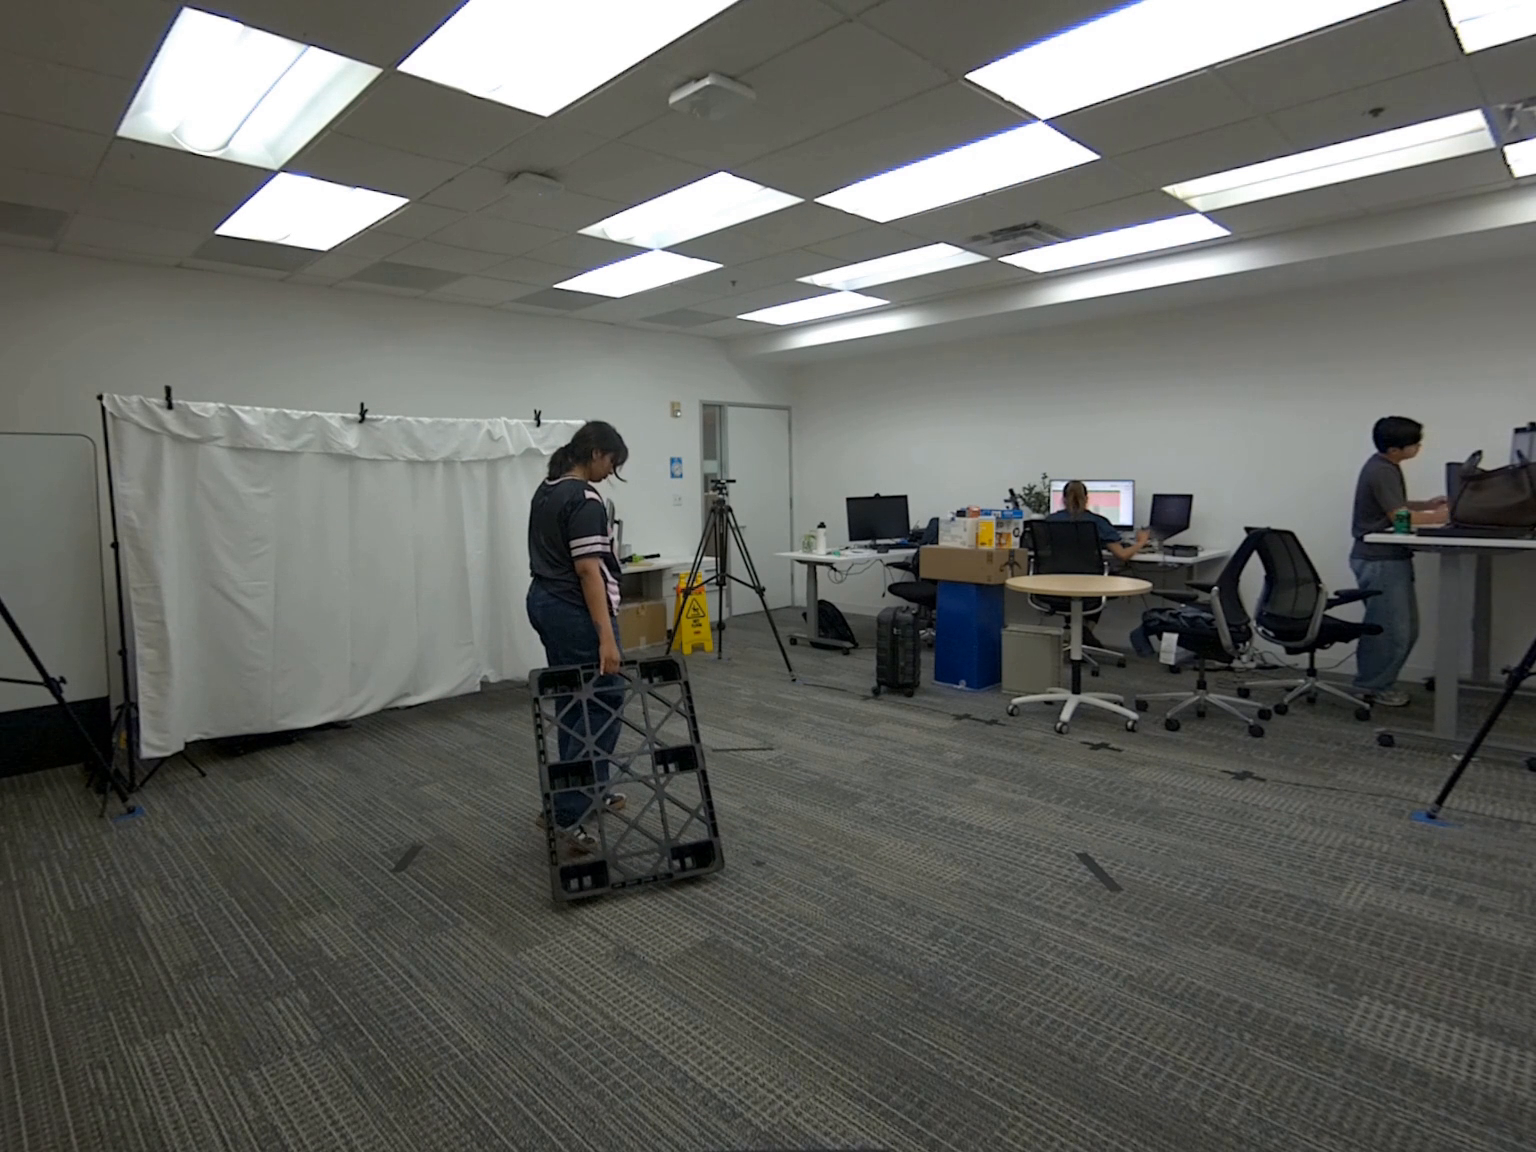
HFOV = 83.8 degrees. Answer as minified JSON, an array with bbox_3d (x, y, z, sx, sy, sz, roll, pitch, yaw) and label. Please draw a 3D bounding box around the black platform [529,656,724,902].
[{"bbox_3d":[-0.529,0.711,3.090,0.594,0.826,0.142,-4,-26,-20],"label":"black platform"}]
